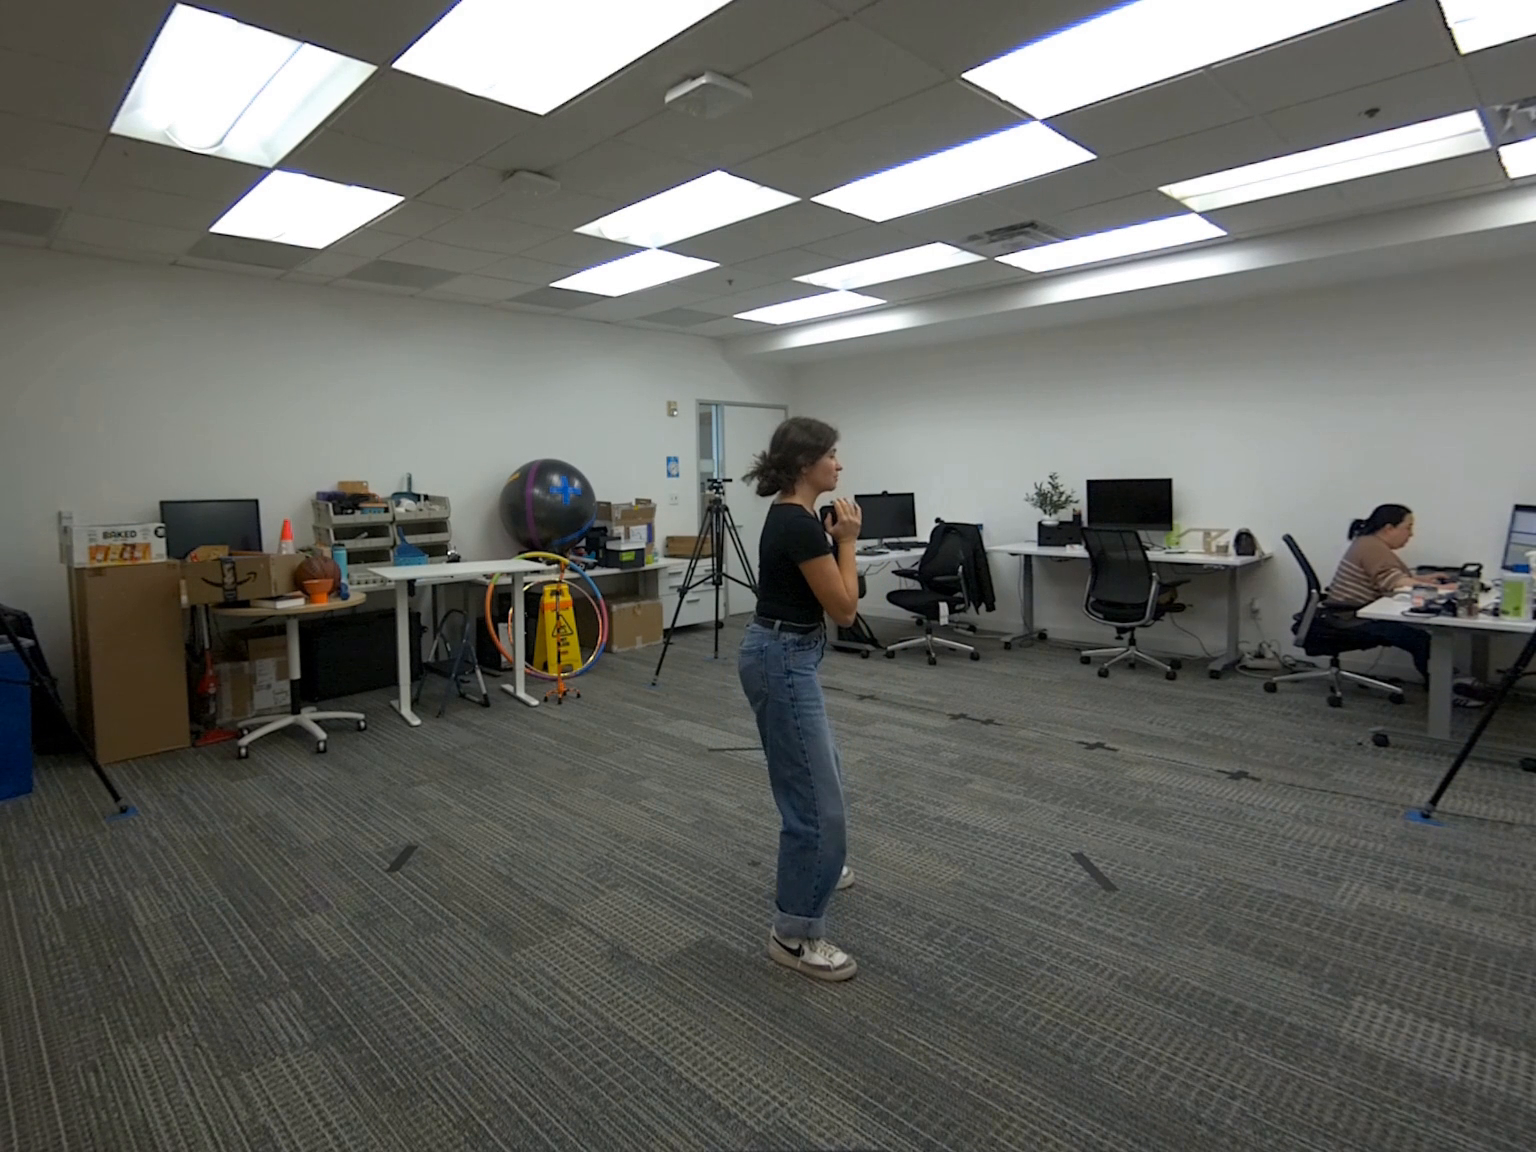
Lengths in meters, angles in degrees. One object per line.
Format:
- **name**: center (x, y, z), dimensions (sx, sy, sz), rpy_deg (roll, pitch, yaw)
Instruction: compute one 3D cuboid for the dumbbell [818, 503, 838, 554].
- **dumbbell**: center (0.214, -0.069, 2.595), dimensions (0.125, 0.292, 0.107), rpy_deg (2, 5, 19)
